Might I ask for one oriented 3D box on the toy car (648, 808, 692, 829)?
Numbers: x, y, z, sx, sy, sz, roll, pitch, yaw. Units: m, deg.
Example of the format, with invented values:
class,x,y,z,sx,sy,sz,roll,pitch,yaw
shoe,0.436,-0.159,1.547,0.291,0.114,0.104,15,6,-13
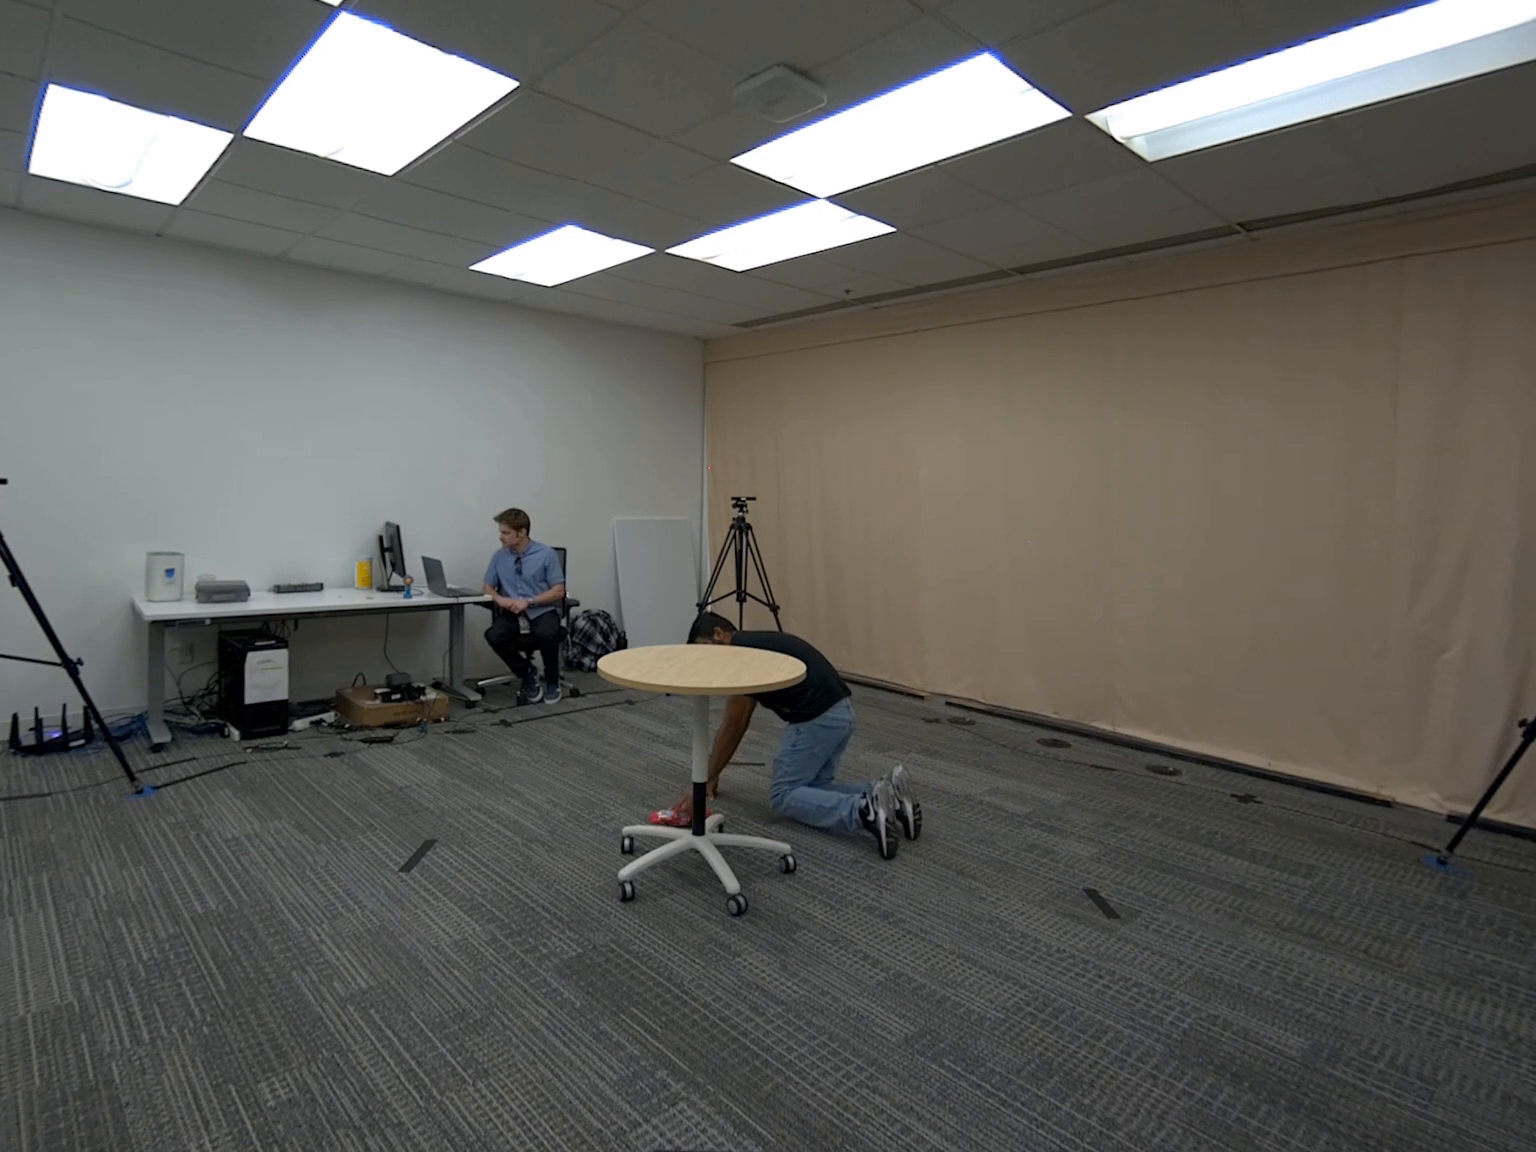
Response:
class,x,y,z,sx,sy,sz,roll,pitch,yaw
toy car,-0.374,1.026,3.594,0.252,0.083,0.132,-10,8,-15
